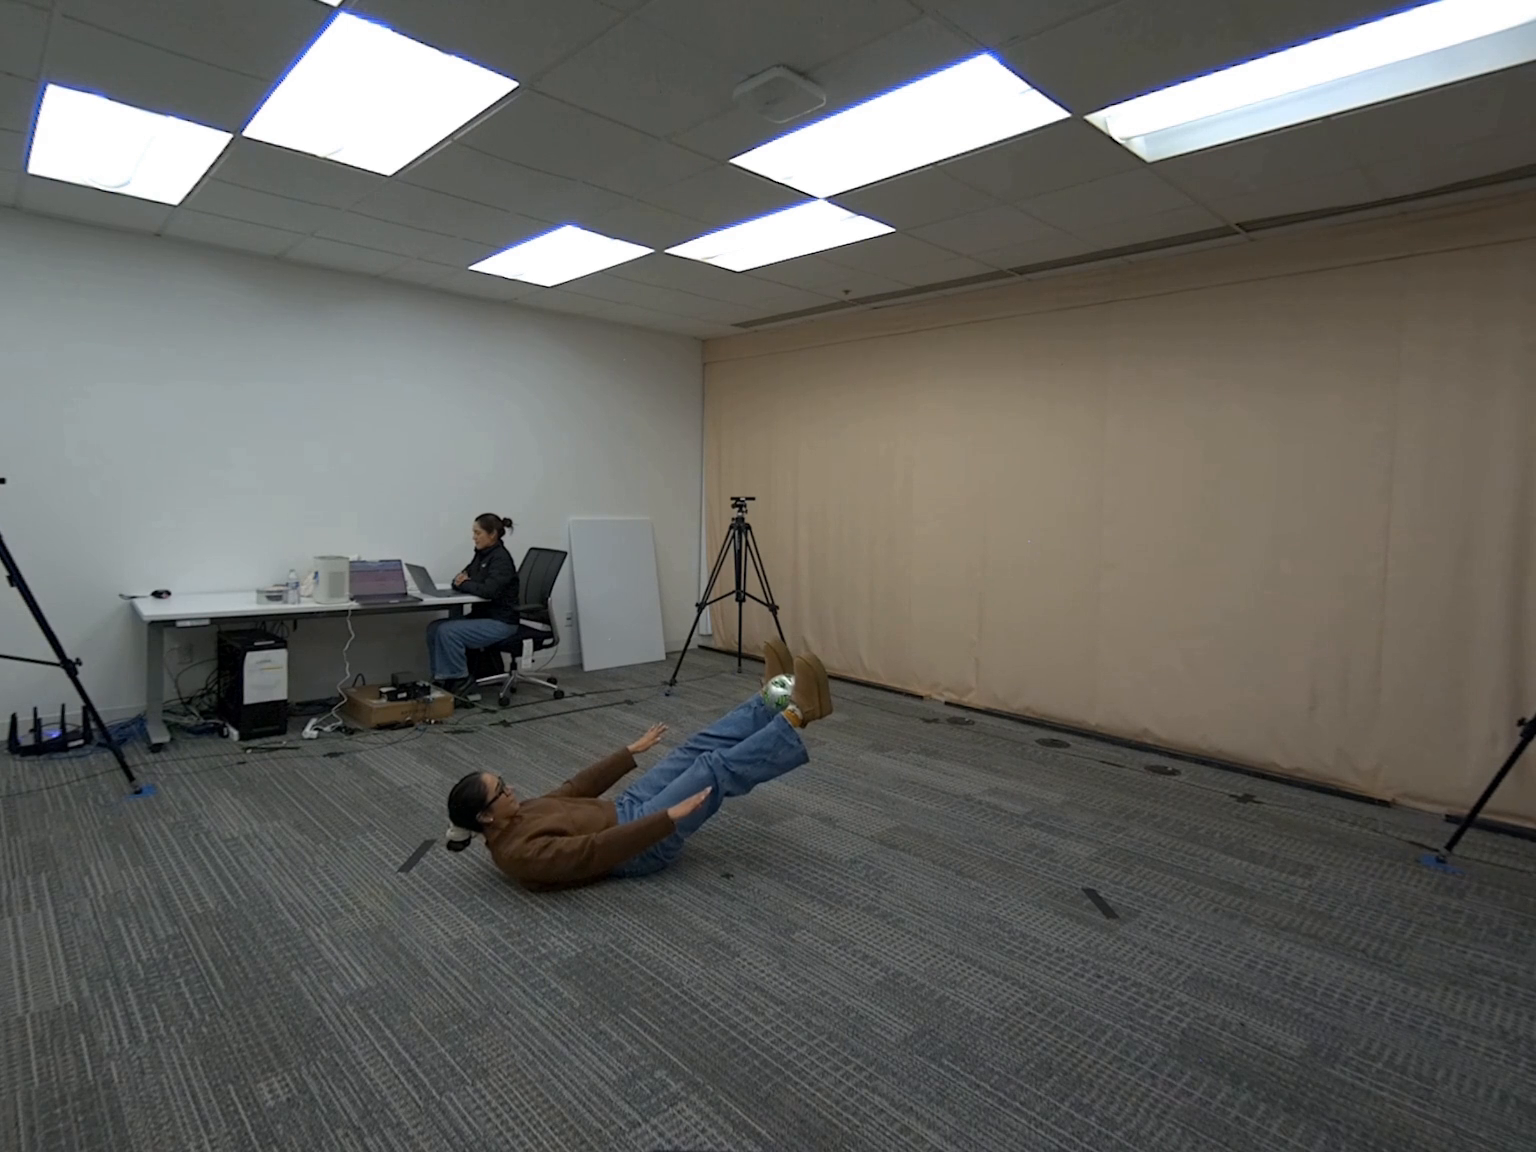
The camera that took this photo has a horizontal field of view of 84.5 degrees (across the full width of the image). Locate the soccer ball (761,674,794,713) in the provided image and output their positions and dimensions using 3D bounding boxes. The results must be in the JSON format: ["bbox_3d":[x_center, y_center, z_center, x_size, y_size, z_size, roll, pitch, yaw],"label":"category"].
[{"bbox_3d":[0.064,0.500,3.423,0.187,0.187,0.188,1,4,-1],"label":"soccer ball"}]
